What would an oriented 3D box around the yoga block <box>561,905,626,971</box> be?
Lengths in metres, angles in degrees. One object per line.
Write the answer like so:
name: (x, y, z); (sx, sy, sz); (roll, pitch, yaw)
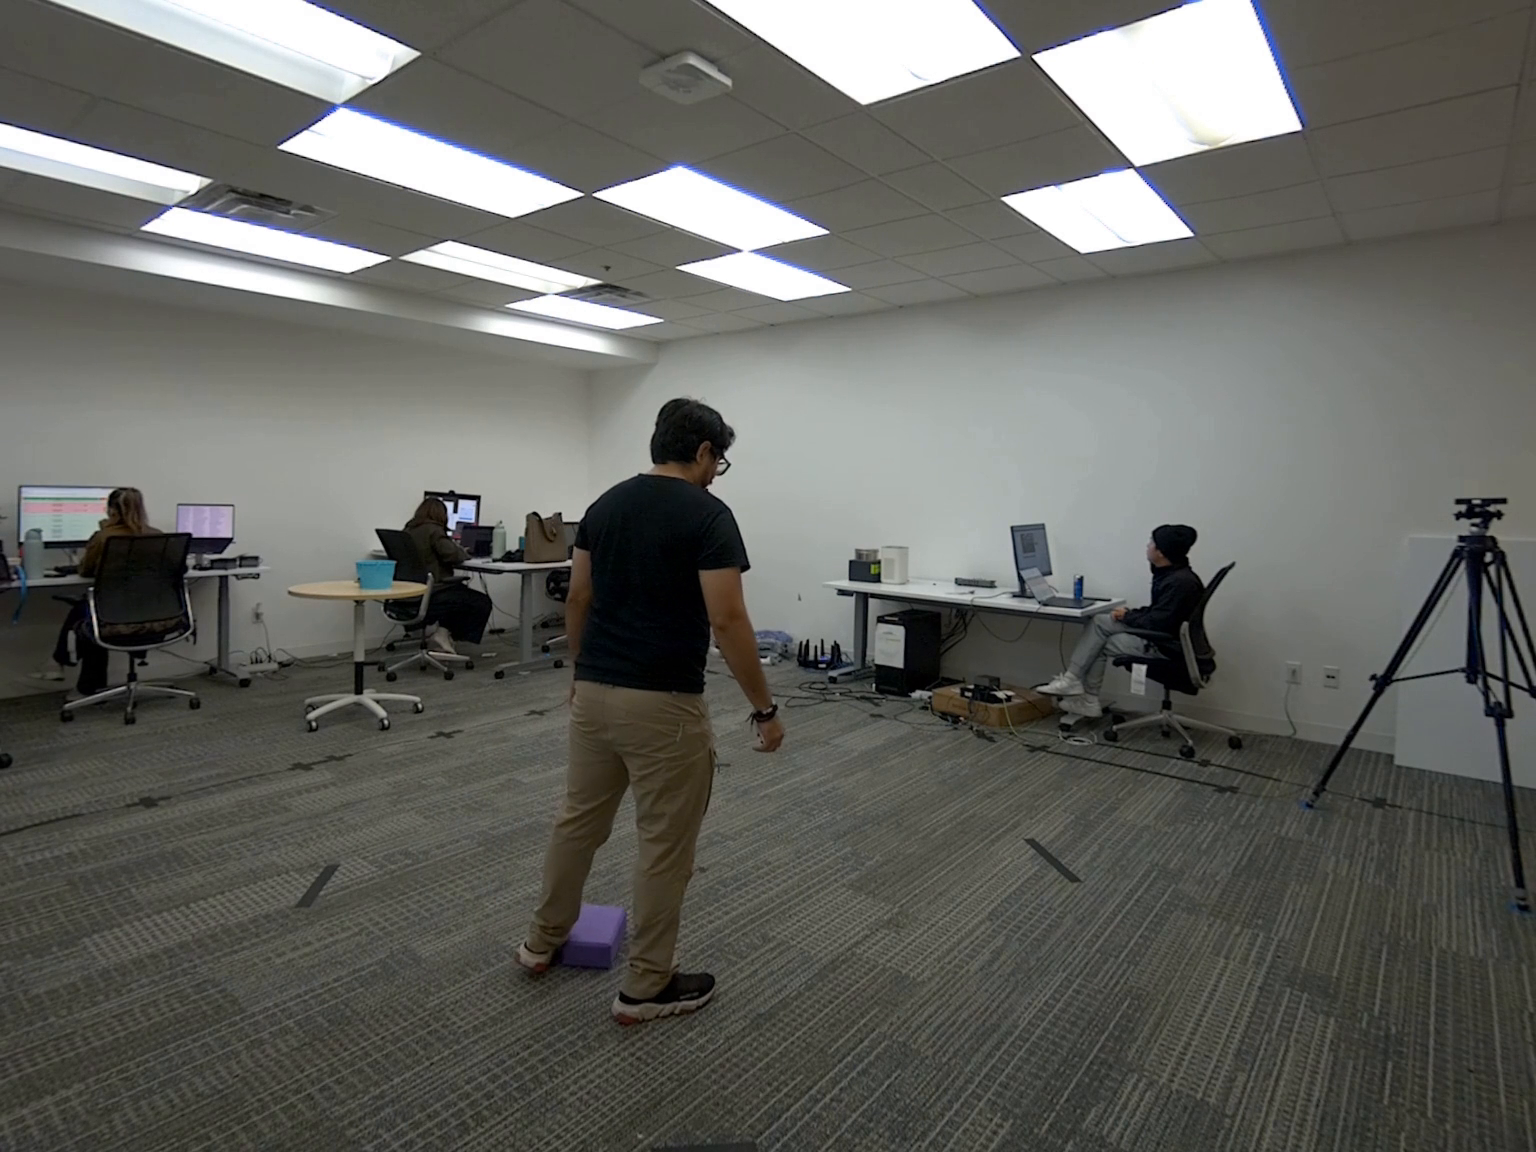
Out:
yoga block: (-0.522, 1.078, 2.554); (0.150, 0.076, 0.228); (0, 5, 5)
